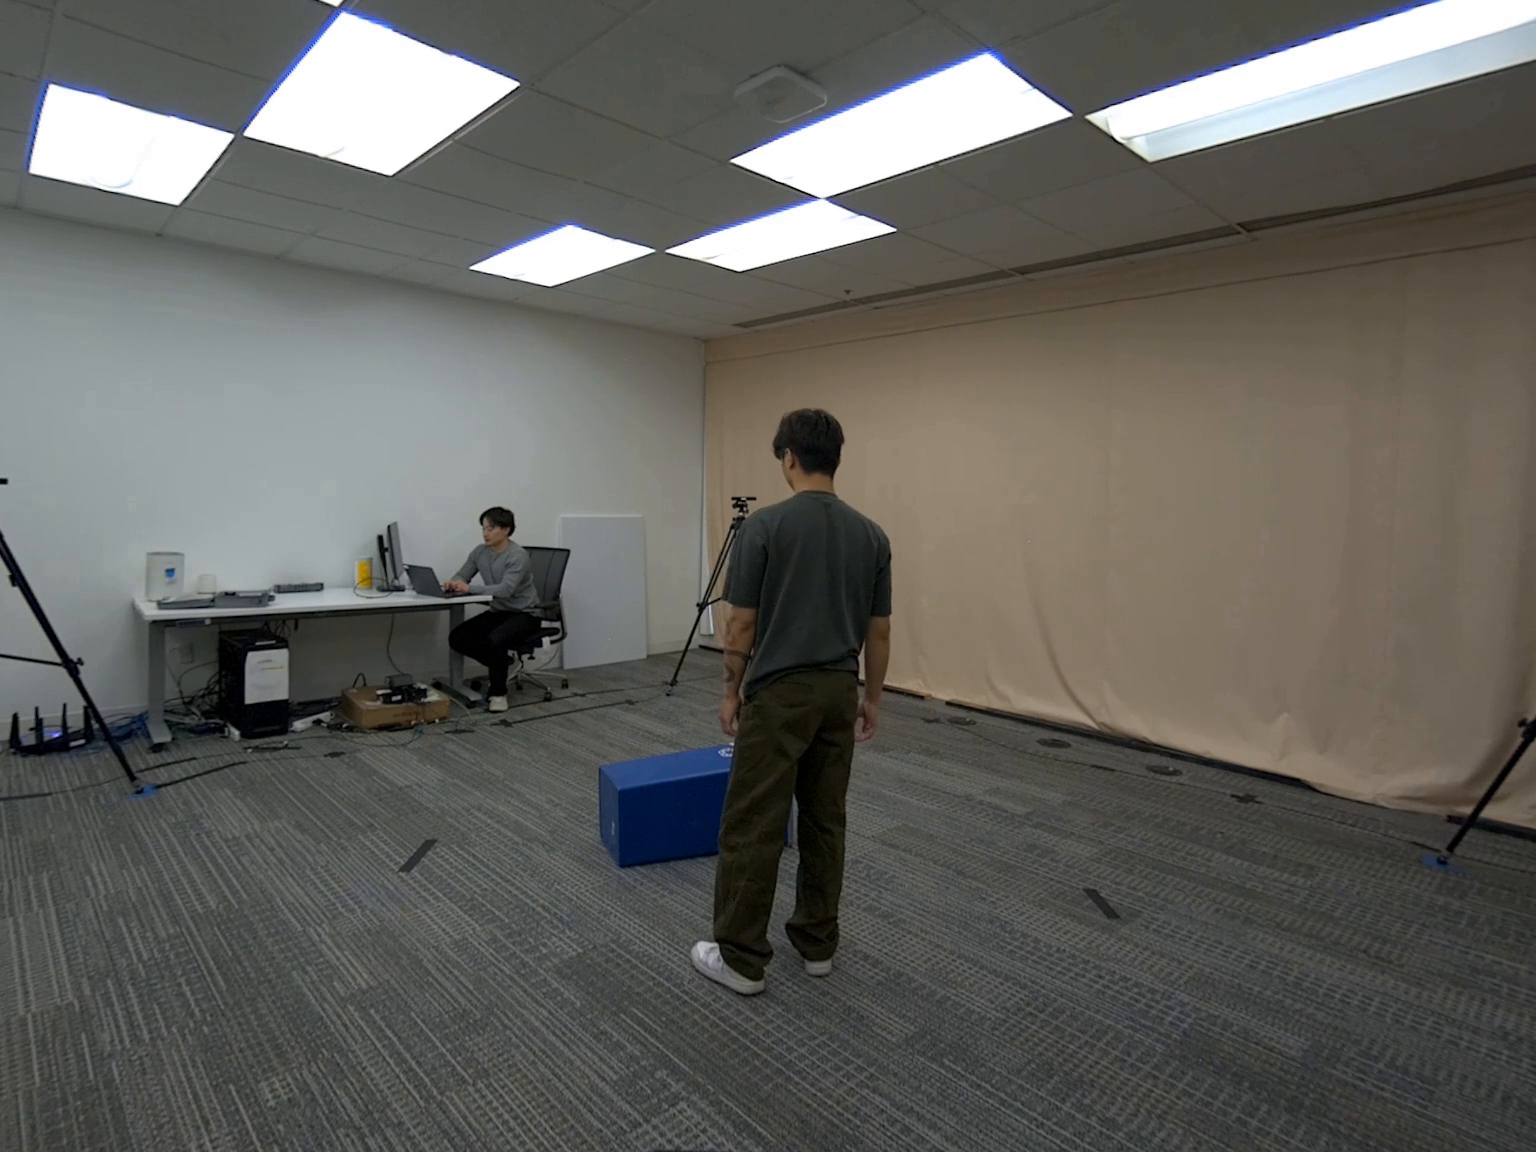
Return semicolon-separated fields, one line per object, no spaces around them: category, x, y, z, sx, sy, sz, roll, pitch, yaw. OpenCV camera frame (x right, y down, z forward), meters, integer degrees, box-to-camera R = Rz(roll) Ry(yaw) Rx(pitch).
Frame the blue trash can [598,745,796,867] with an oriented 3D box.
blue trash can;-0.303;0.912;3.398;0.702;0.373;0.385;-3;6;-22
